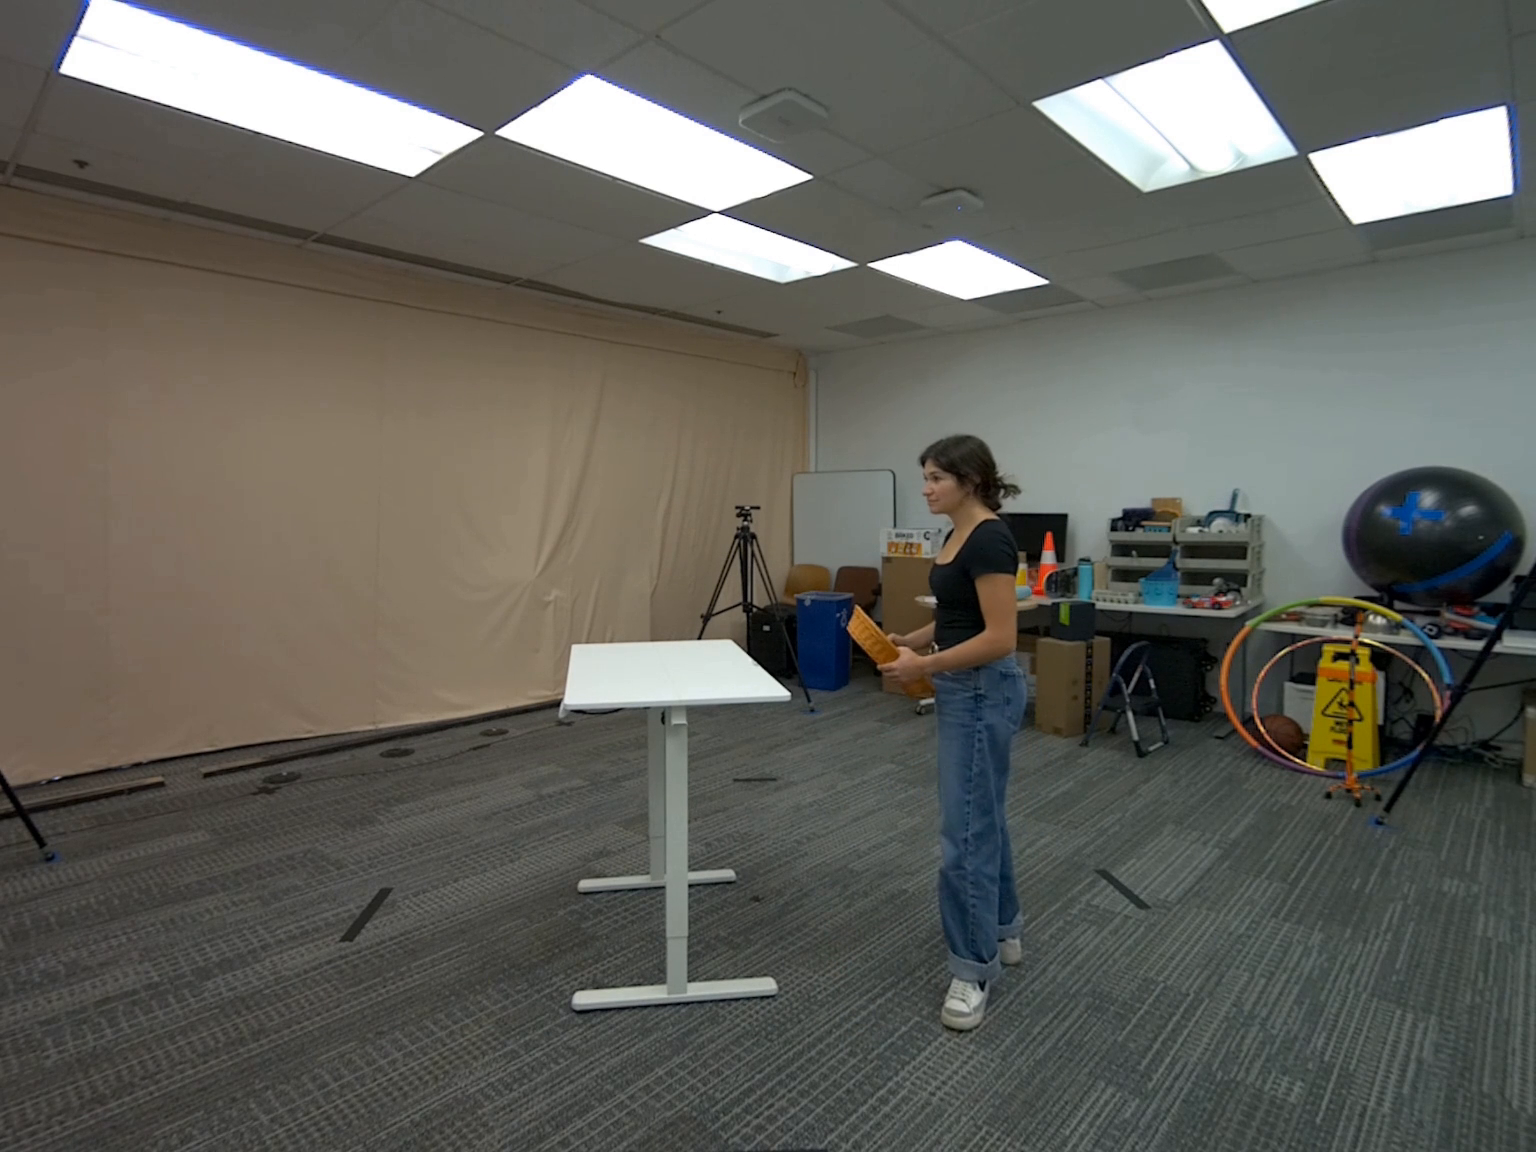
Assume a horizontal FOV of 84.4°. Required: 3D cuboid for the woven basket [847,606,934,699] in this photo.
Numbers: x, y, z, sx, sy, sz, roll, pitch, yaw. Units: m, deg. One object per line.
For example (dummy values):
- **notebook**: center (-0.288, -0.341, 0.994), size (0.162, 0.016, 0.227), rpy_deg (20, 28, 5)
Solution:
- **woven basket**: center (0.367, 0.241, 2.506), size (0.073, 0.357, 0.247), rpy_deg (-43, -16, 0)
